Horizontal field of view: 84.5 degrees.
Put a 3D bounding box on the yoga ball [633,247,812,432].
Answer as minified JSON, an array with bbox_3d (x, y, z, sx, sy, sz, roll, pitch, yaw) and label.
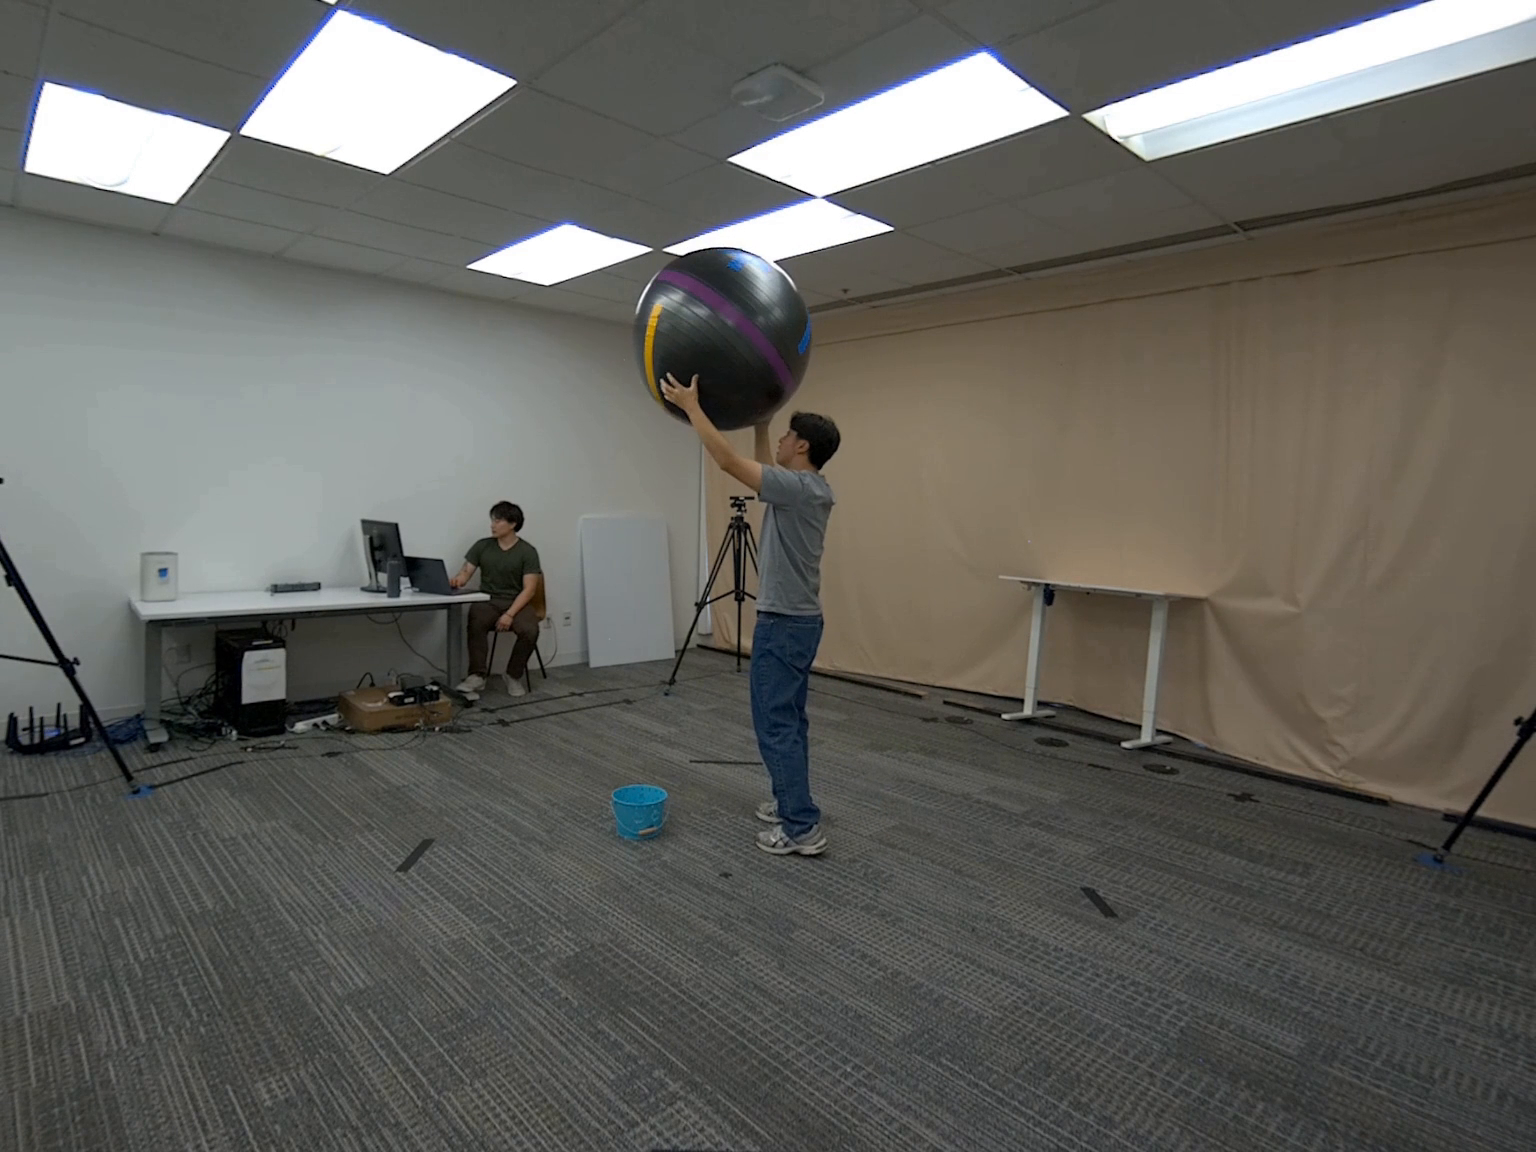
[{"bbox_3d":[-0.206,-0.990,3.570,0.757,0.756,0.761,1,4,-1],"label":"yoga ball"}]
